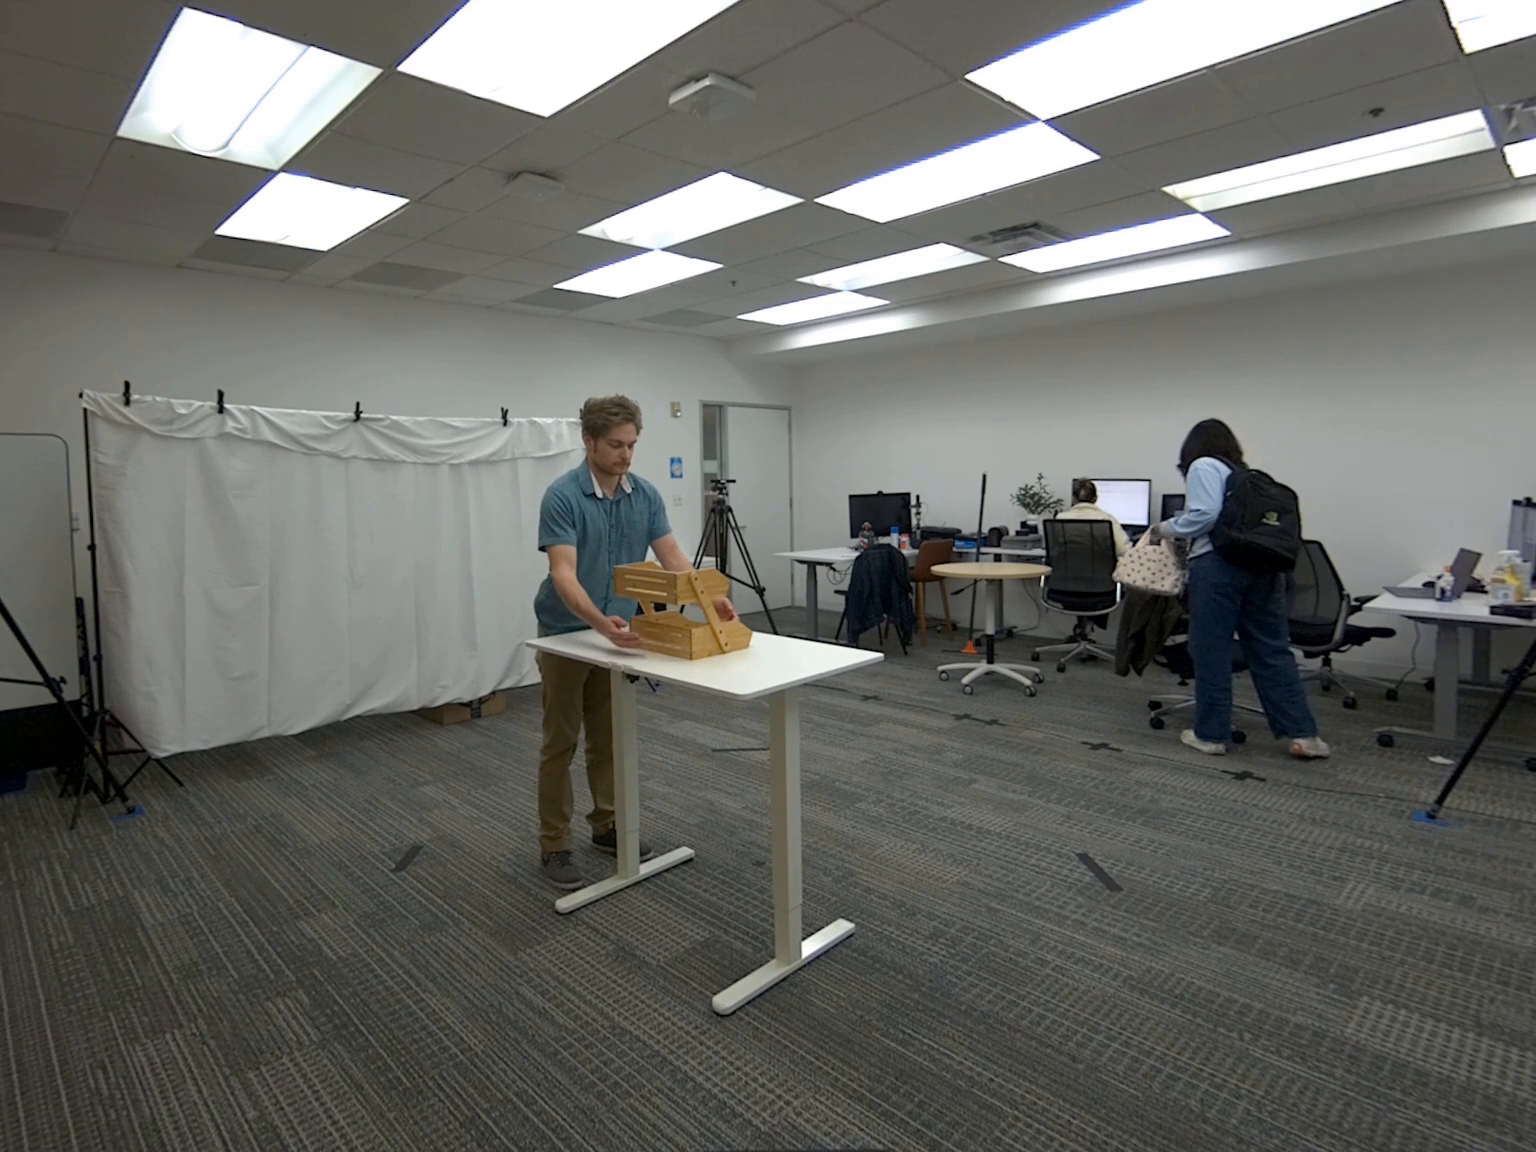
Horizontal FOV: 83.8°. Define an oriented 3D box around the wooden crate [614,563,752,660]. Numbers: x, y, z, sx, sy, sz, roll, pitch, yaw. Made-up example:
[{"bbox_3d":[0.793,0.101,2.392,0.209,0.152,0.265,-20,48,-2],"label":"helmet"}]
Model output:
[{"bbox_3d":[-0.257,0.092,2.630,0.294,0.272,0.334,-8,9,-44],"label":"wooden crate"}]
